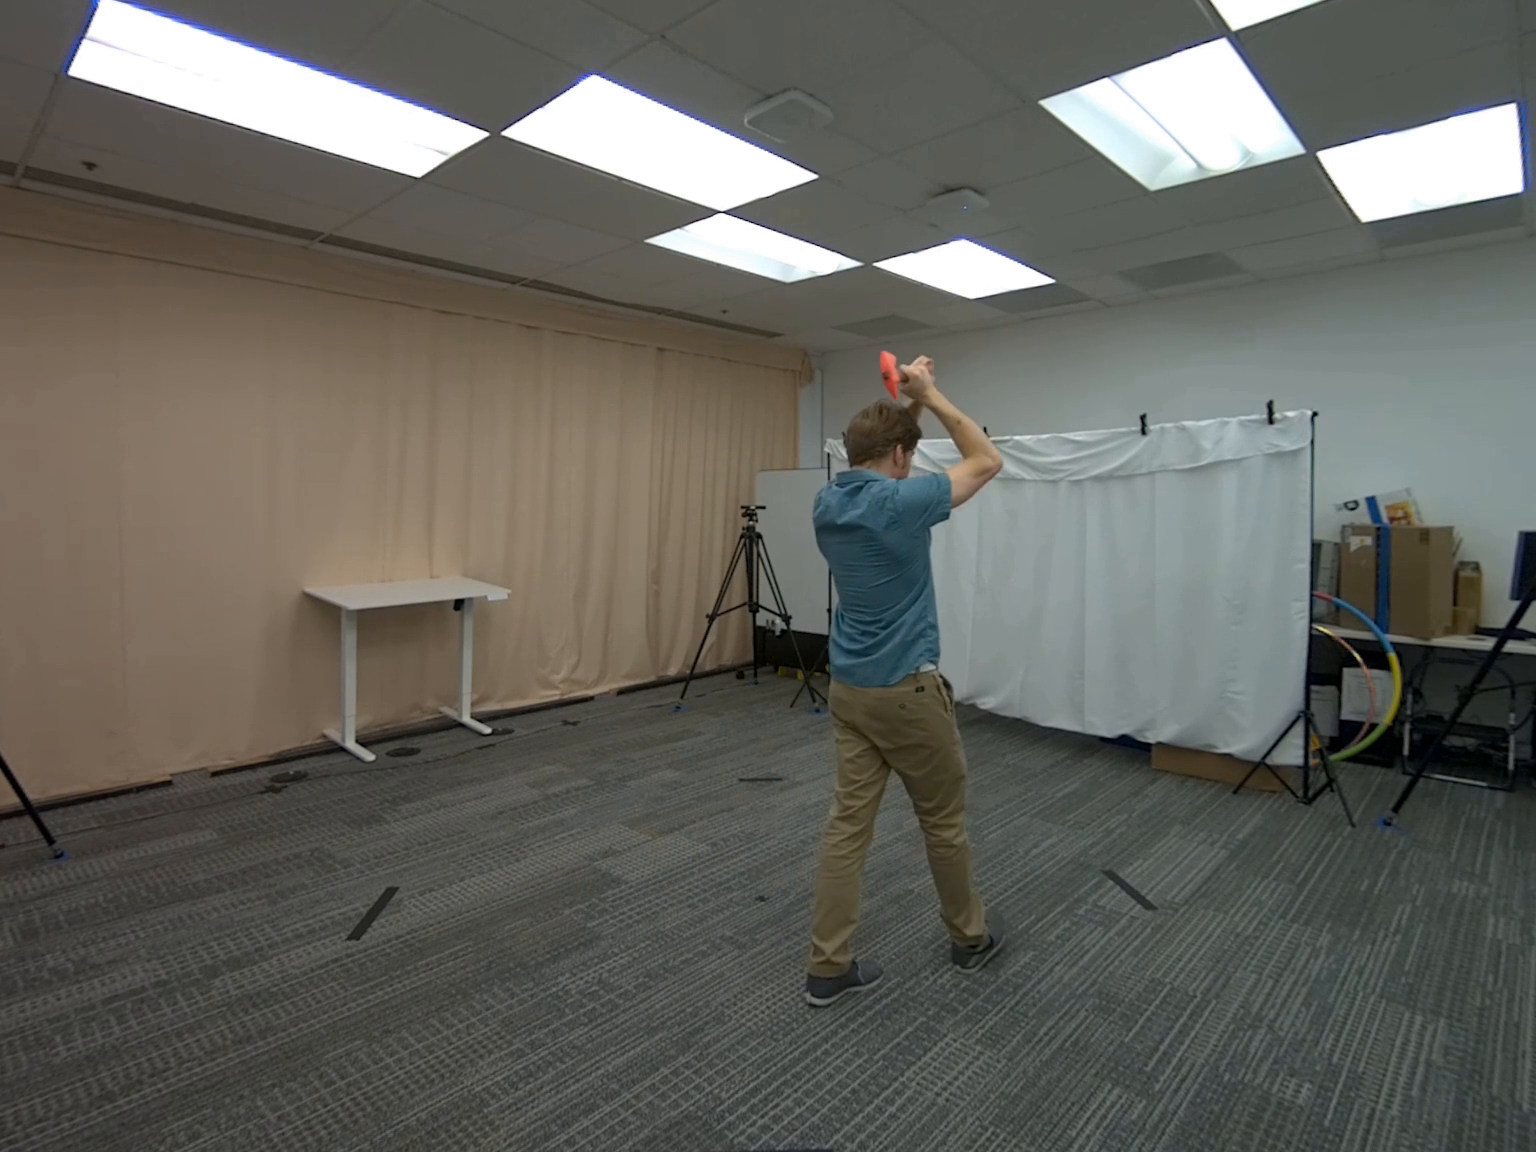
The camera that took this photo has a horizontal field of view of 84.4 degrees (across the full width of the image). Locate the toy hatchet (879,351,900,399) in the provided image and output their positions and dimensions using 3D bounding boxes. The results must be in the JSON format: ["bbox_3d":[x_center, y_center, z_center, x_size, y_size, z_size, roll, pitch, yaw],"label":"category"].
[{"bbox_3d":[0.392,-0.587,2.330,0.030,0.130,0.266,-20,13,46],"label":"toy hatchet"}]
